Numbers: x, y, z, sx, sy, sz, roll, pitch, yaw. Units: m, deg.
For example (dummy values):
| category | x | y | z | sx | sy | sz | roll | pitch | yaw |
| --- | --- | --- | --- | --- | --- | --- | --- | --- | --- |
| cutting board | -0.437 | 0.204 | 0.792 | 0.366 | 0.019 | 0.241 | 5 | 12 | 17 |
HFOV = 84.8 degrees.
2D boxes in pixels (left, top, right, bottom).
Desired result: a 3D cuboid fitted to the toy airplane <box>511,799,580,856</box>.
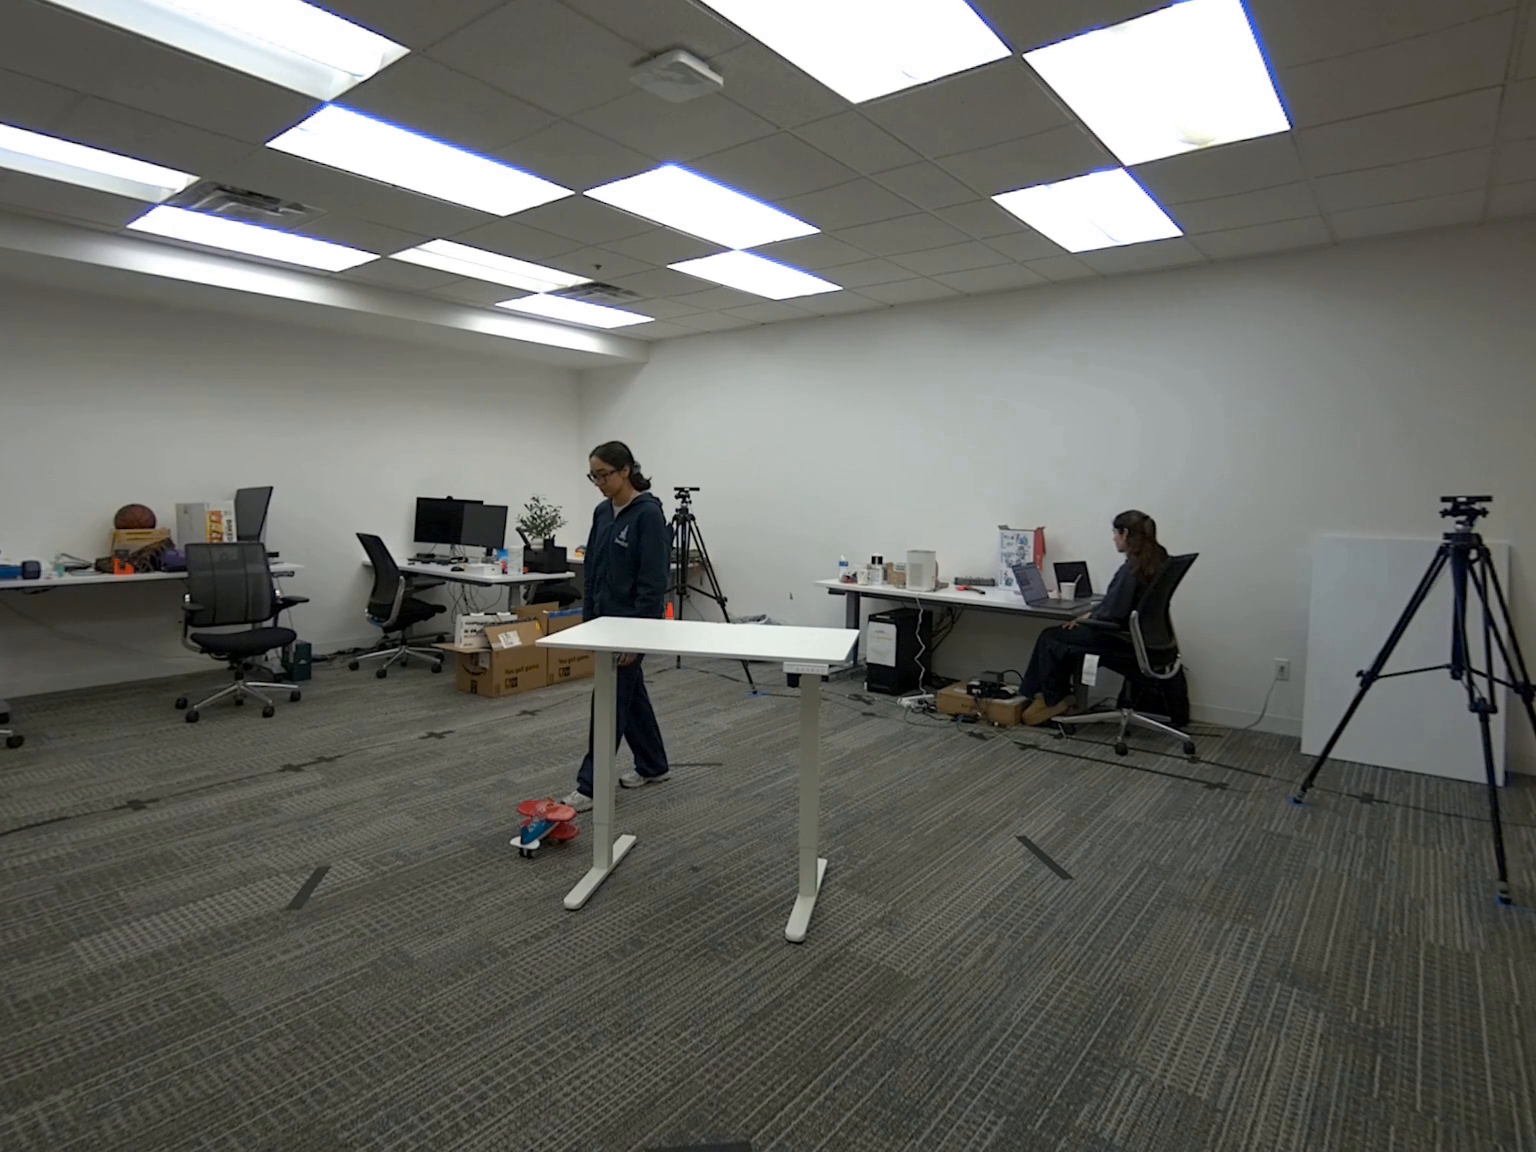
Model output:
| category | x | y | z | sx | sy | sz | roll | pitch | yaw |
| --- | --- | --- | --- | --- | --- | --- | --- | --- | --- |
| toy airplane | -0.852 | 0.972 | 3.257 | 0.250 | 0.156 | 0.261 | 0 | 4 | -6 |
